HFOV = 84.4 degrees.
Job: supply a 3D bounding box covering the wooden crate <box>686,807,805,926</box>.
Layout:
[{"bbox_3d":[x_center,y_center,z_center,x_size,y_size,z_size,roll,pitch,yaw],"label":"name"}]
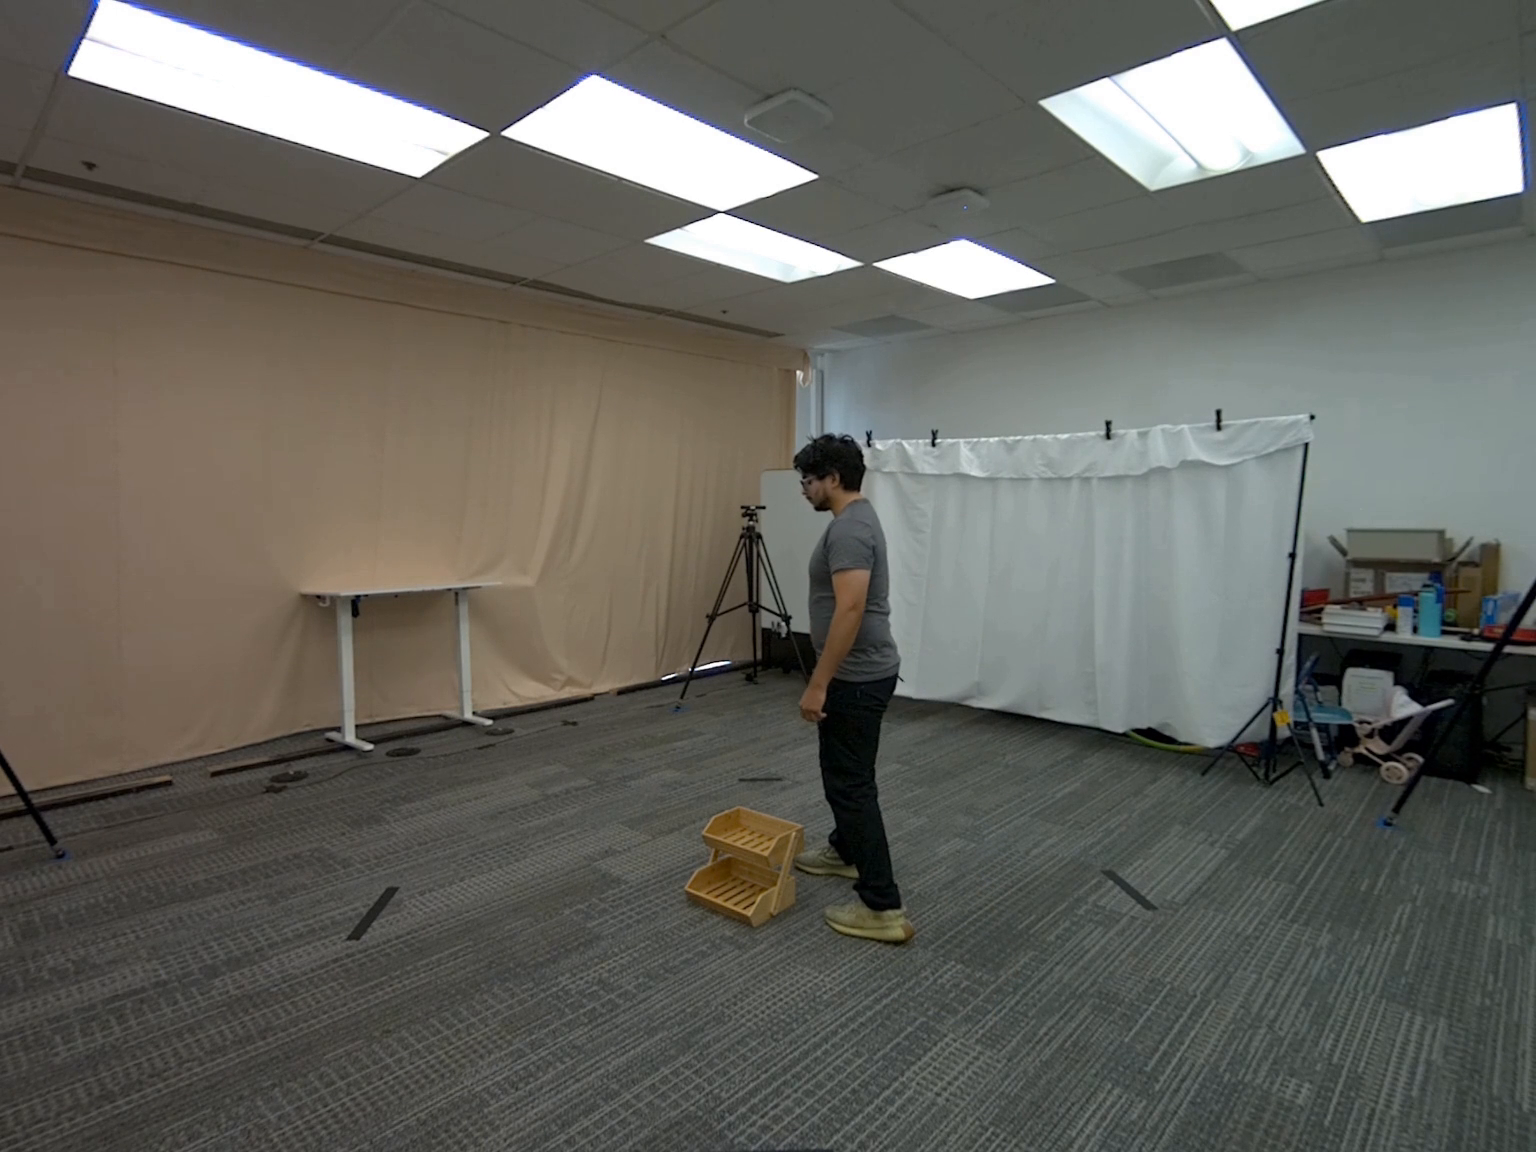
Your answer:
[{"bbox_3d":[-0.081,1.013,2.968,0.335,0.273,0.293,3,5,40],"label":"wooden crate"}]
